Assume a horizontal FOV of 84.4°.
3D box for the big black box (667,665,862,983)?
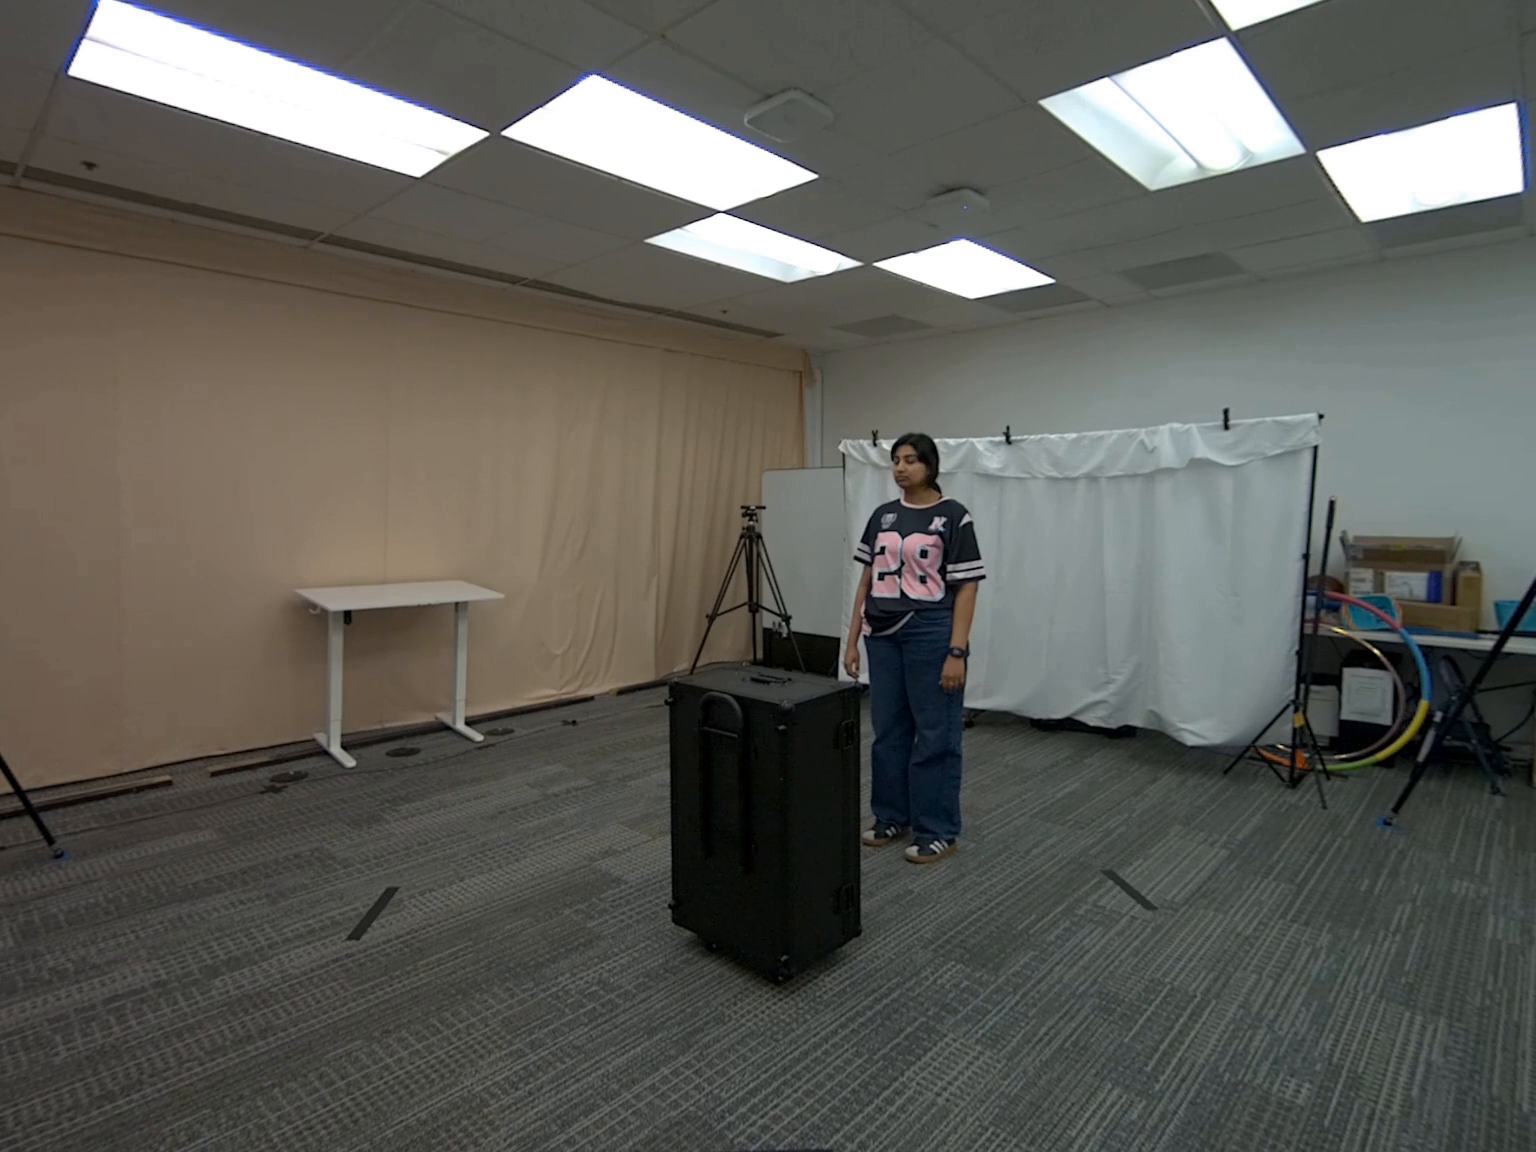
[{"bbox_3d":[-0.003,0.755,2.601,0.541,0.866,0.373,3,5,42],"label":"big black box"}]
